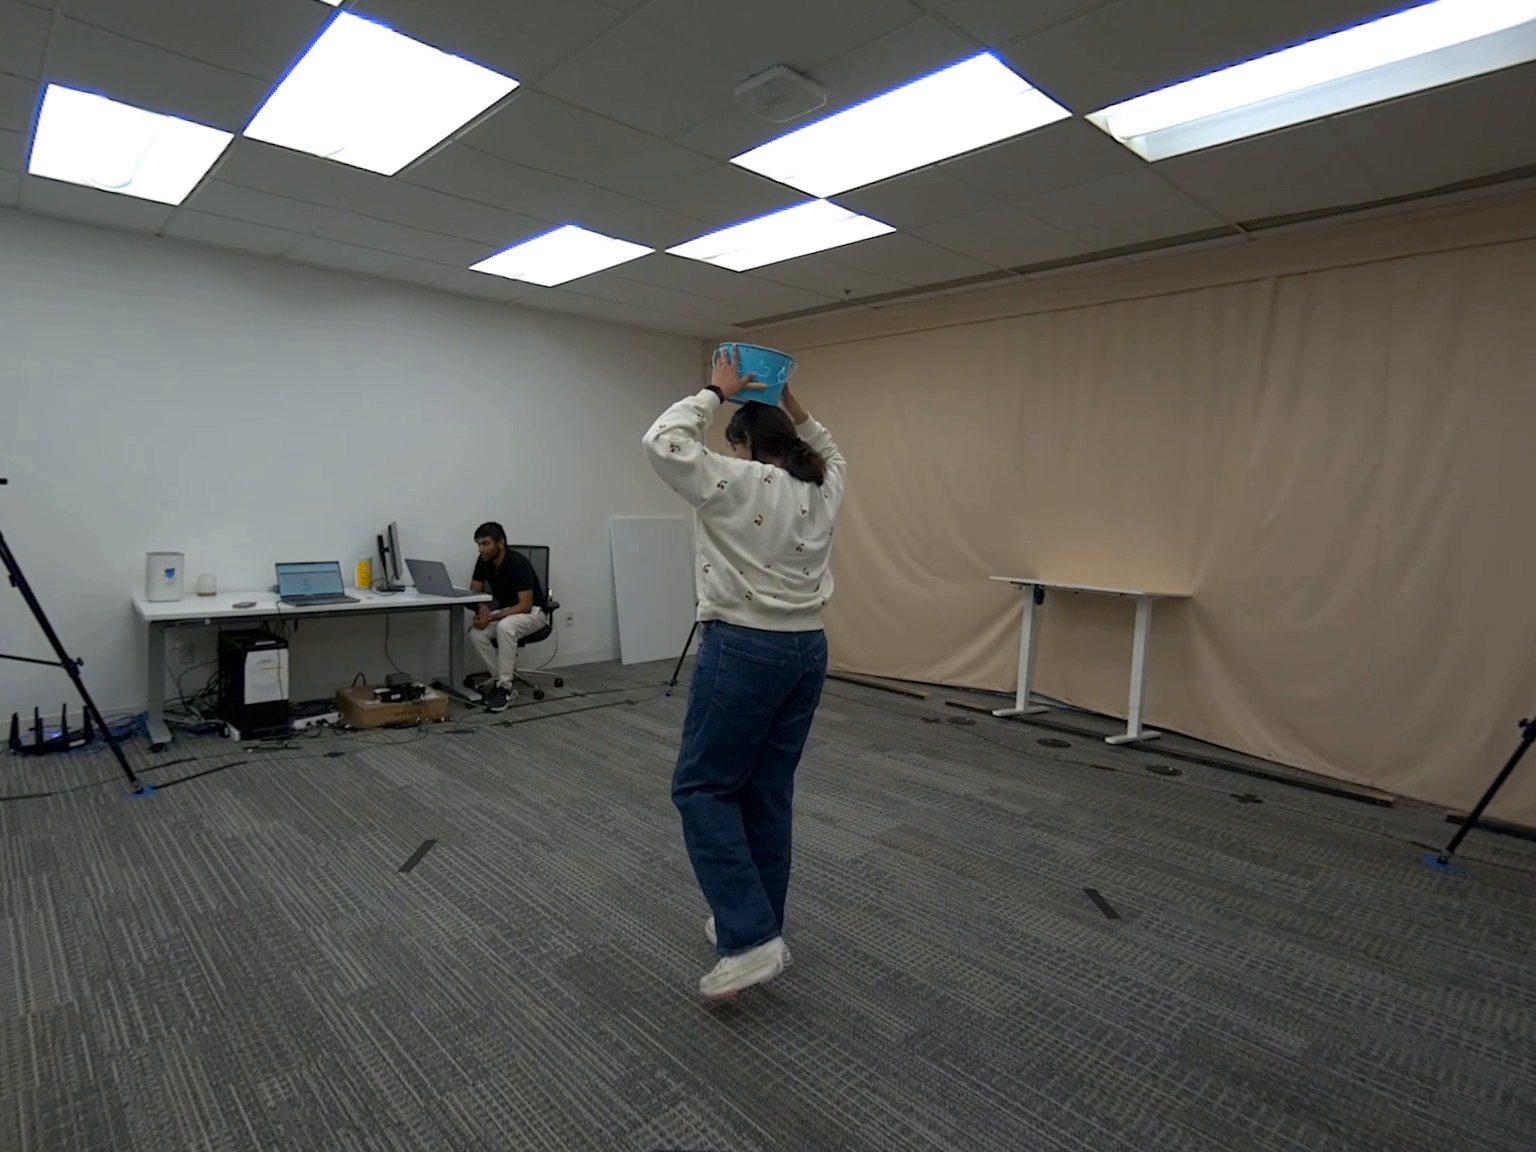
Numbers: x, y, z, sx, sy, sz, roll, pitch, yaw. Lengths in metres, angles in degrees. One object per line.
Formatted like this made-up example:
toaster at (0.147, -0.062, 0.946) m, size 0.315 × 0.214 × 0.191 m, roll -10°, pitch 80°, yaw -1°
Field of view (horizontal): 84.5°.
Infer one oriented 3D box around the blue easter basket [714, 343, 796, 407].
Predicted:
blue easter basket at (-0.053, -0.598, 2.528) m, size 0.243 × 0.155 × 0.244 m, roll 10°, pitch 3°, yaw -2°
